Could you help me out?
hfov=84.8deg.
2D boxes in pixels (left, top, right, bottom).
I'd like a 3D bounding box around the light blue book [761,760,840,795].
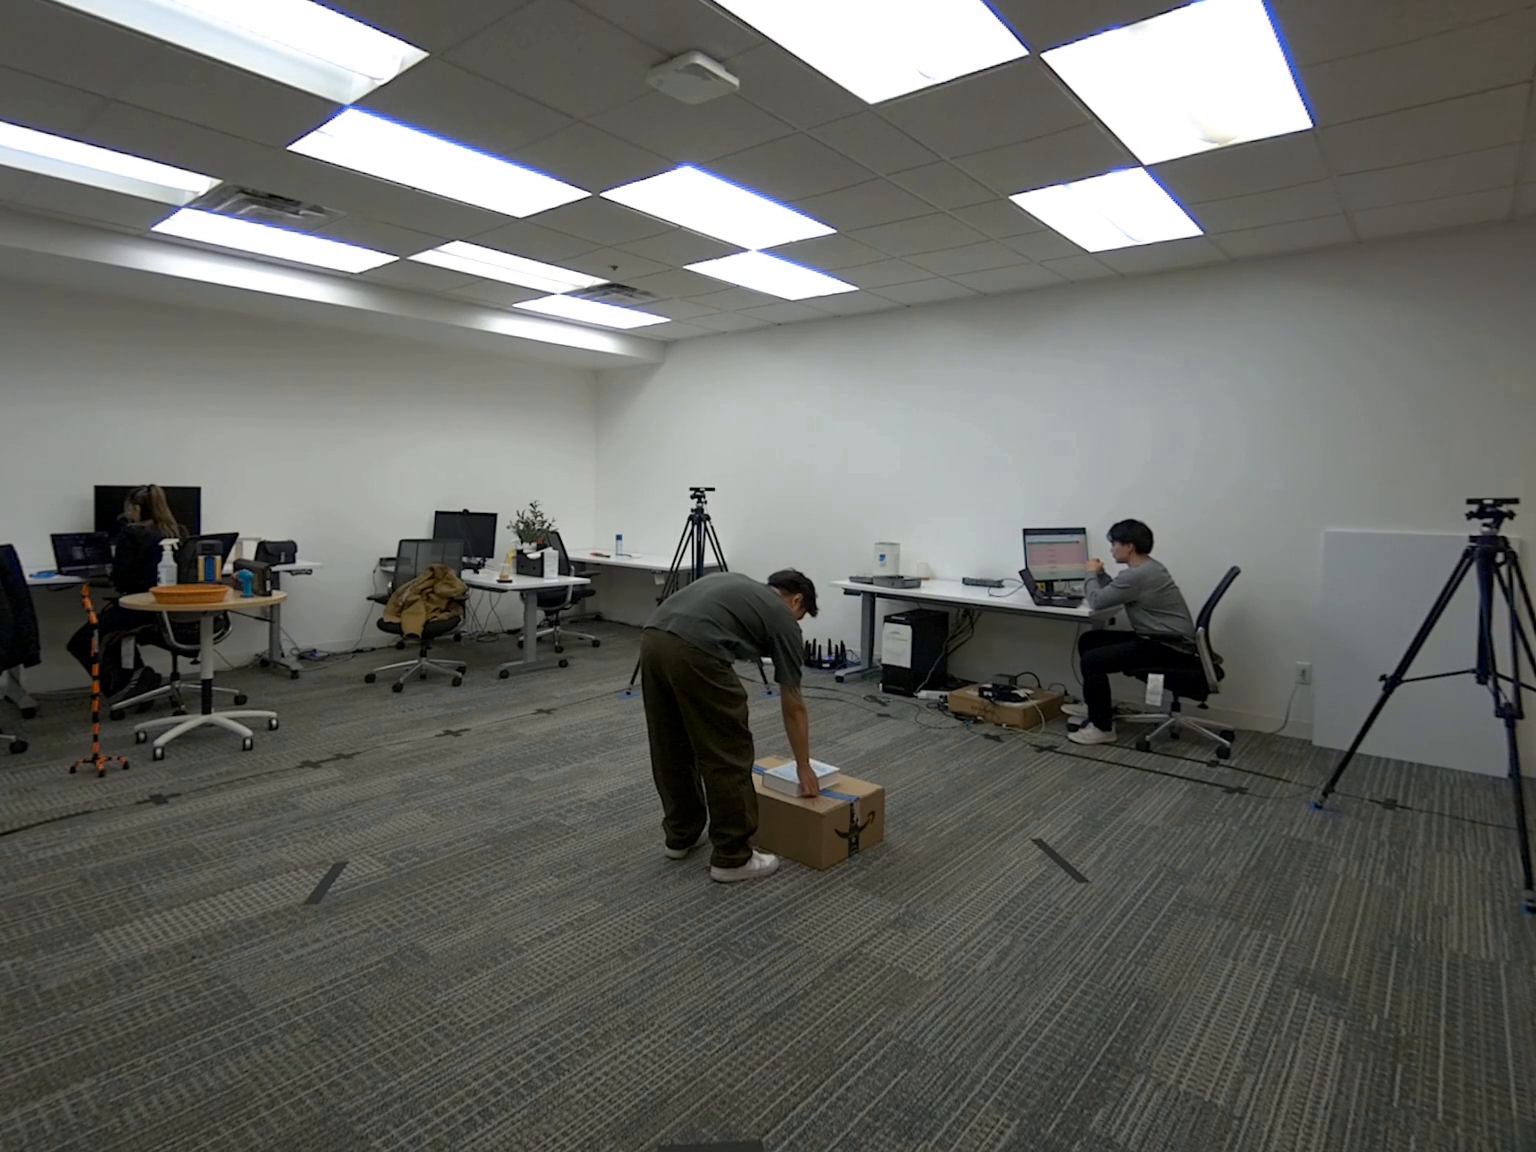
[{"bbox_3d":[0.130,0.807,3.438,0.253,0.059,0.198,-6,10,-44],"label":"light blue book"}]
